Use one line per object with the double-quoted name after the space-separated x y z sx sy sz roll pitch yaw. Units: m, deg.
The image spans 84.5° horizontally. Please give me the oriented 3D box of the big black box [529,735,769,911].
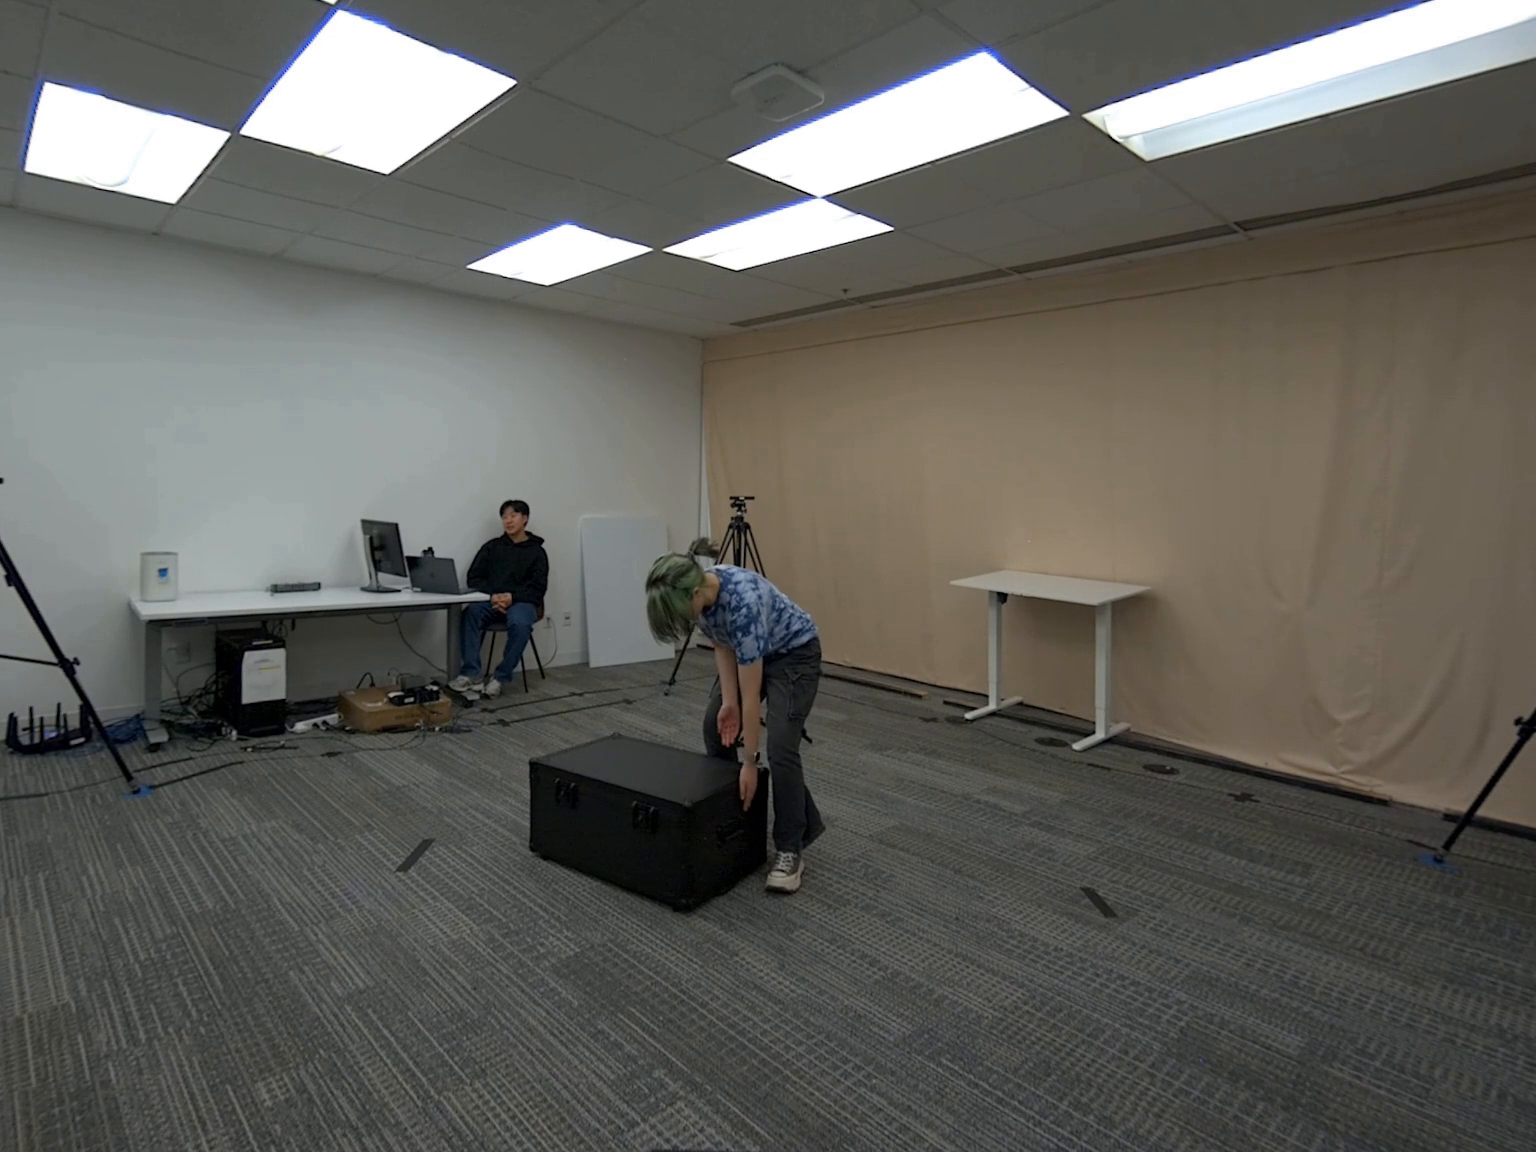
-0.491 0.896 3.202 0.882 0.395 0.510 5 6 34 "big black box"
